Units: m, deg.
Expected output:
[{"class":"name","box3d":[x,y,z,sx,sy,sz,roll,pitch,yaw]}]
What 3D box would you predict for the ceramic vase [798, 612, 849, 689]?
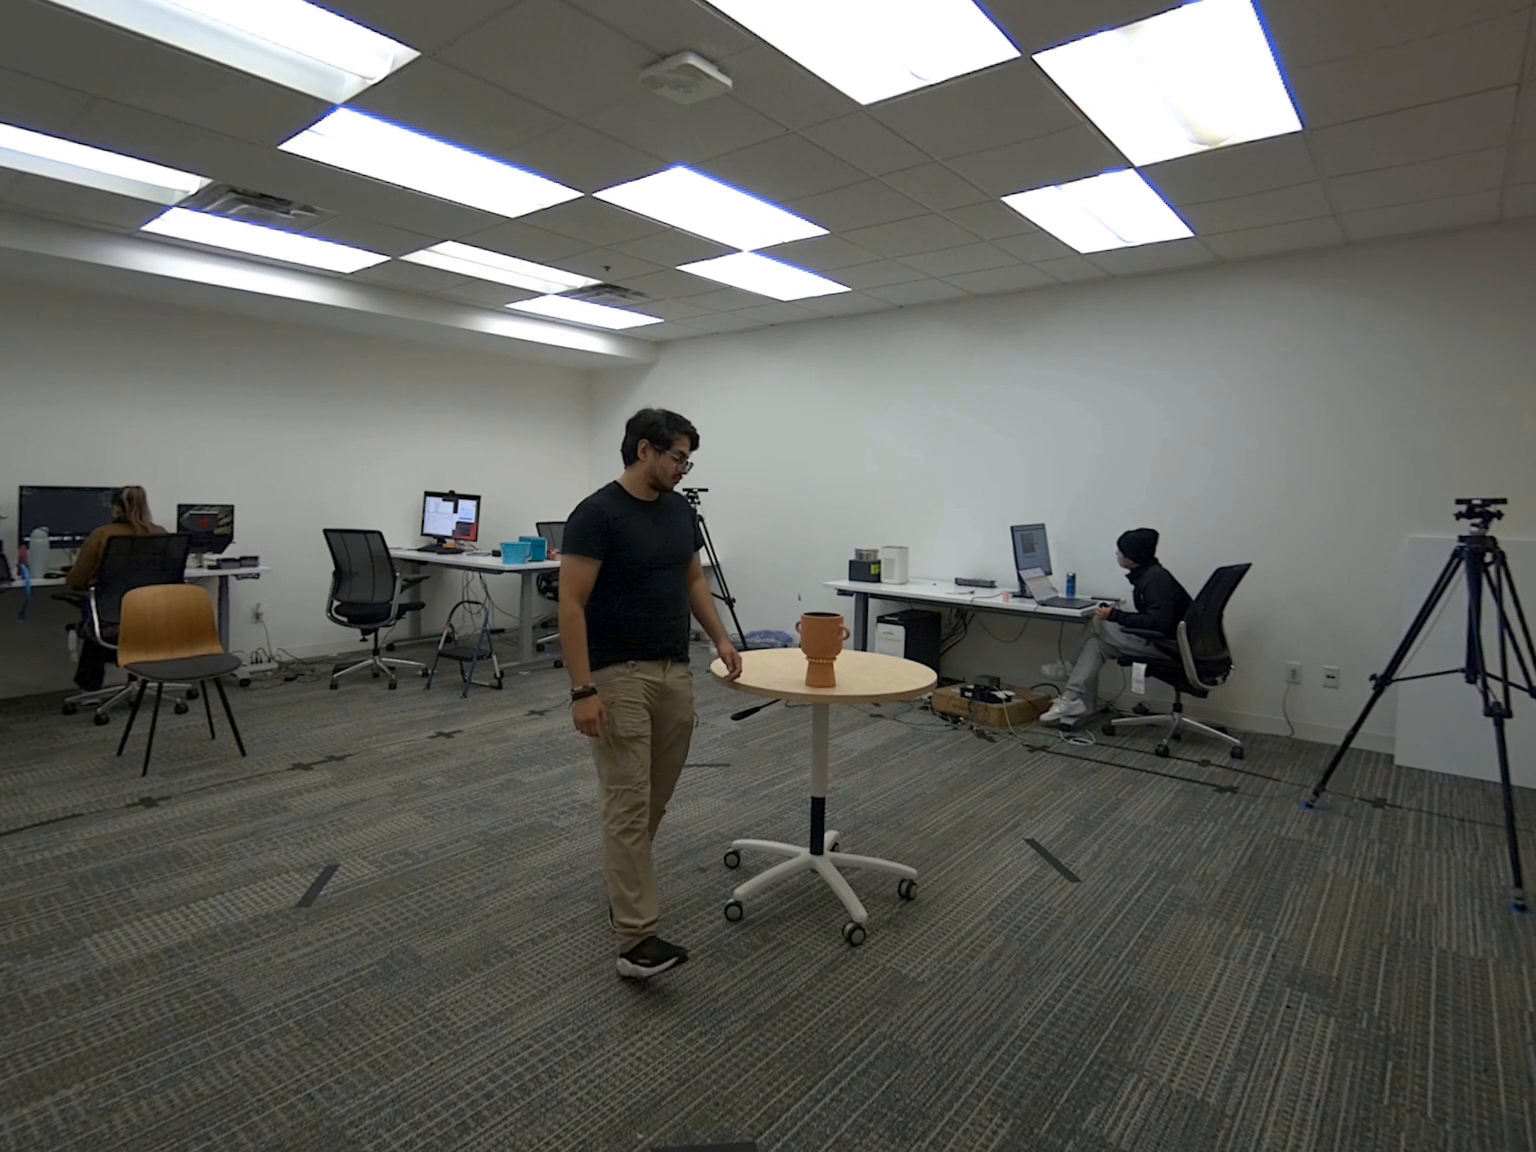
[{"class":"ceramic vase","box3d":[0.161,0.232,2.657,0.133,0.219,0.161,1,3,-14]}]
